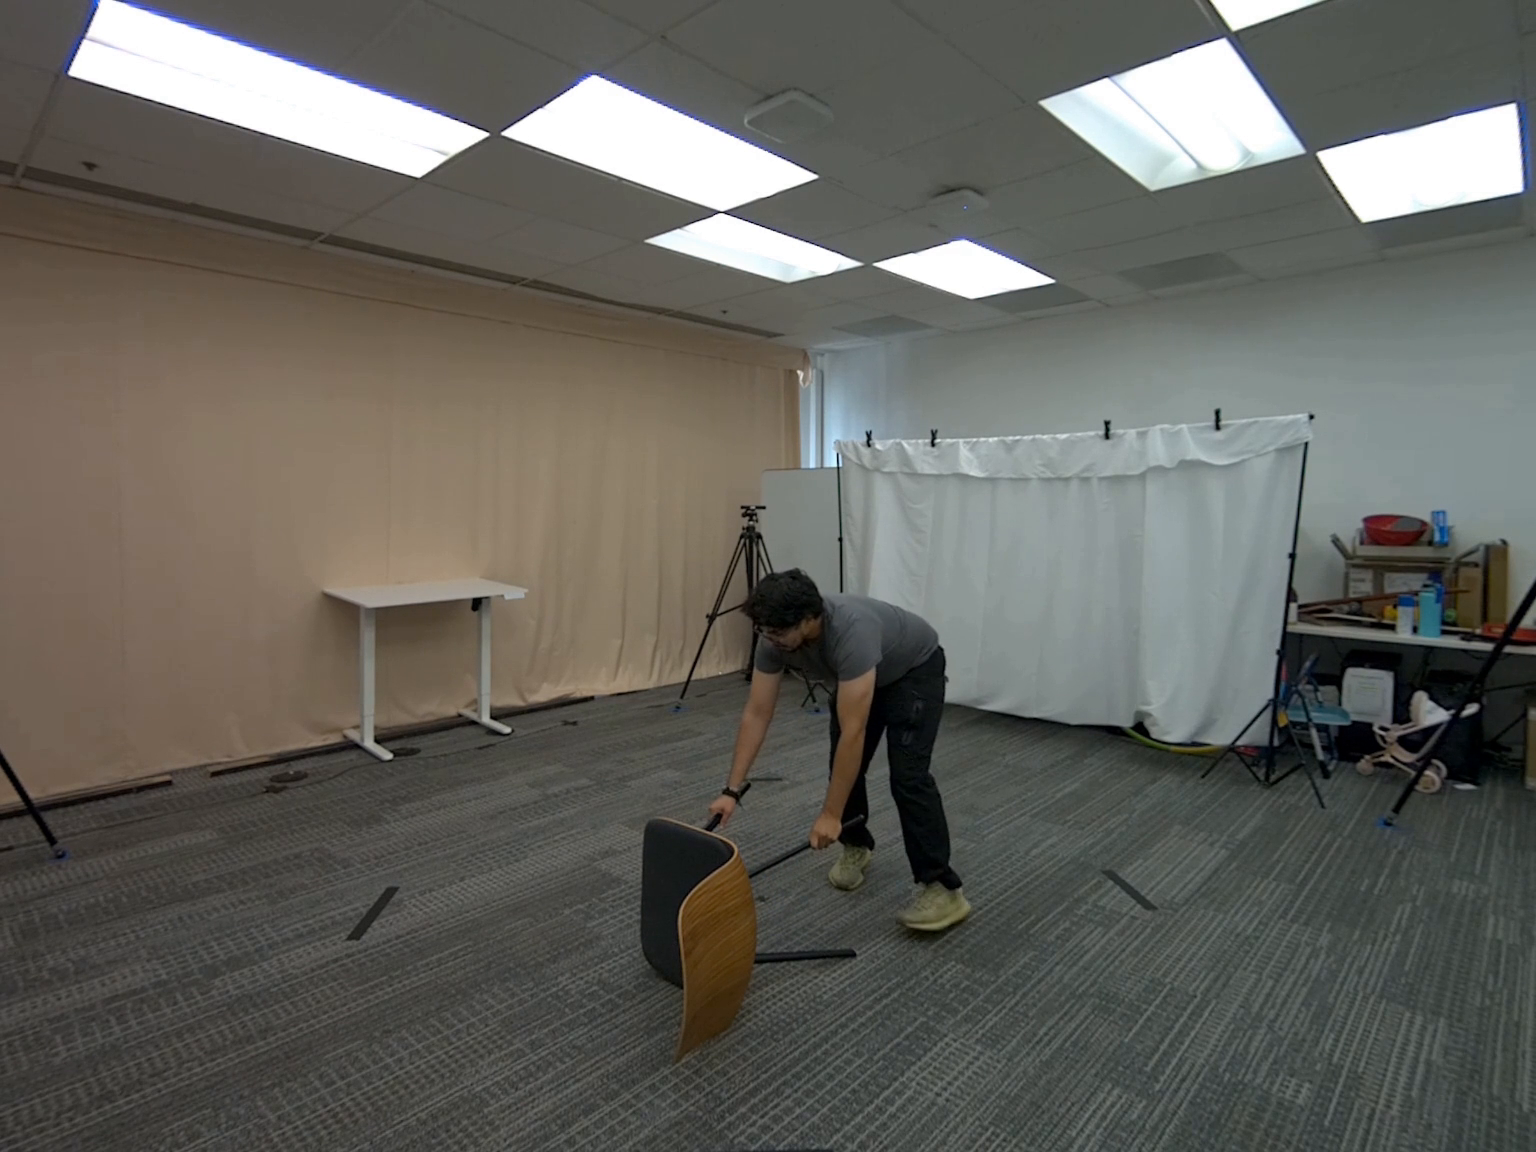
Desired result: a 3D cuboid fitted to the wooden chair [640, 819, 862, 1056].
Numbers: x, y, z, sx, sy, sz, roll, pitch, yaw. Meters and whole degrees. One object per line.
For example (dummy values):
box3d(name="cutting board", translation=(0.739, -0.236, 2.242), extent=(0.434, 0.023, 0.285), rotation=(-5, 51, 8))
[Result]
box3d(name="wooden chair", translation=(-0.165, 0.962, 2.427), extent=(0.540, 0.477, 0.852), rotation=(4, 4, 34))
